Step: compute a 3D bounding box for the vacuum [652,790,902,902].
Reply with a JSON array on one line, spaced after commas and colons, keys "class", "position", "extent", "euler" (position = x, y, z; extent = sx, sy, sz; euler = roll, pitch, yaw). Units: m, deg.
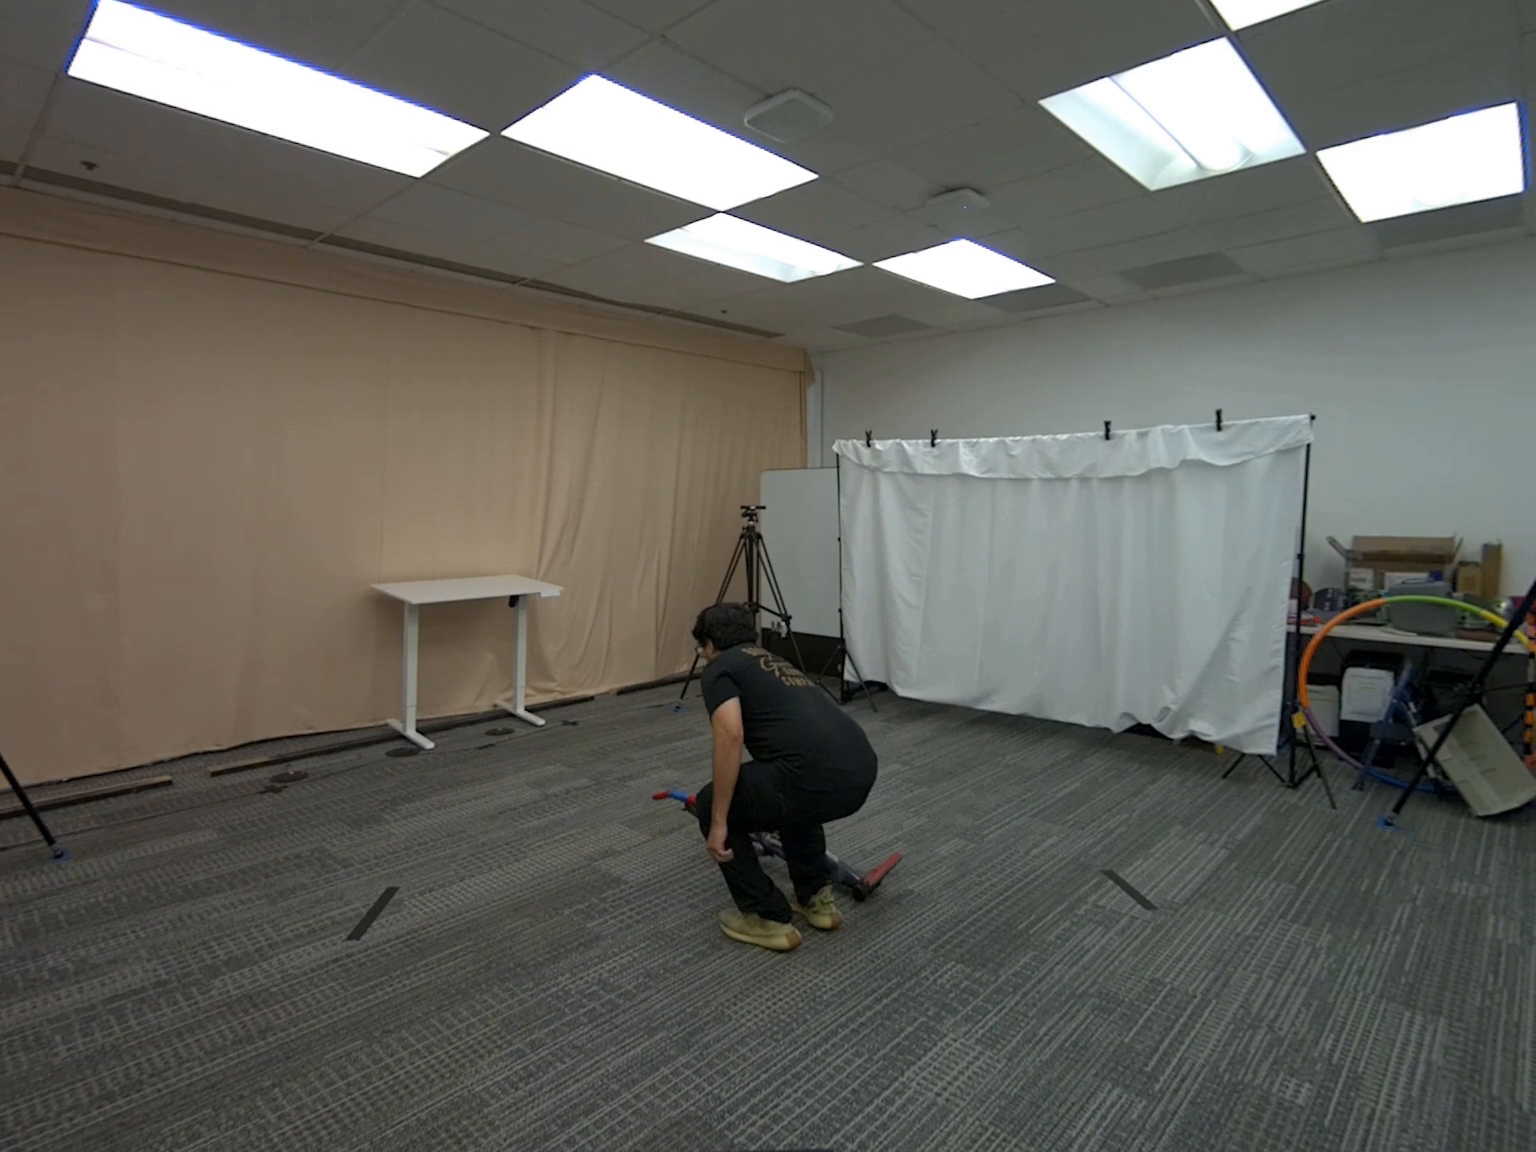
[{"class": "vacuum", "position": [-0.044, 1.013, 3.287], "extent": [1.084, 0.143, 0.245], "euler": [7, 10, 36]}]
